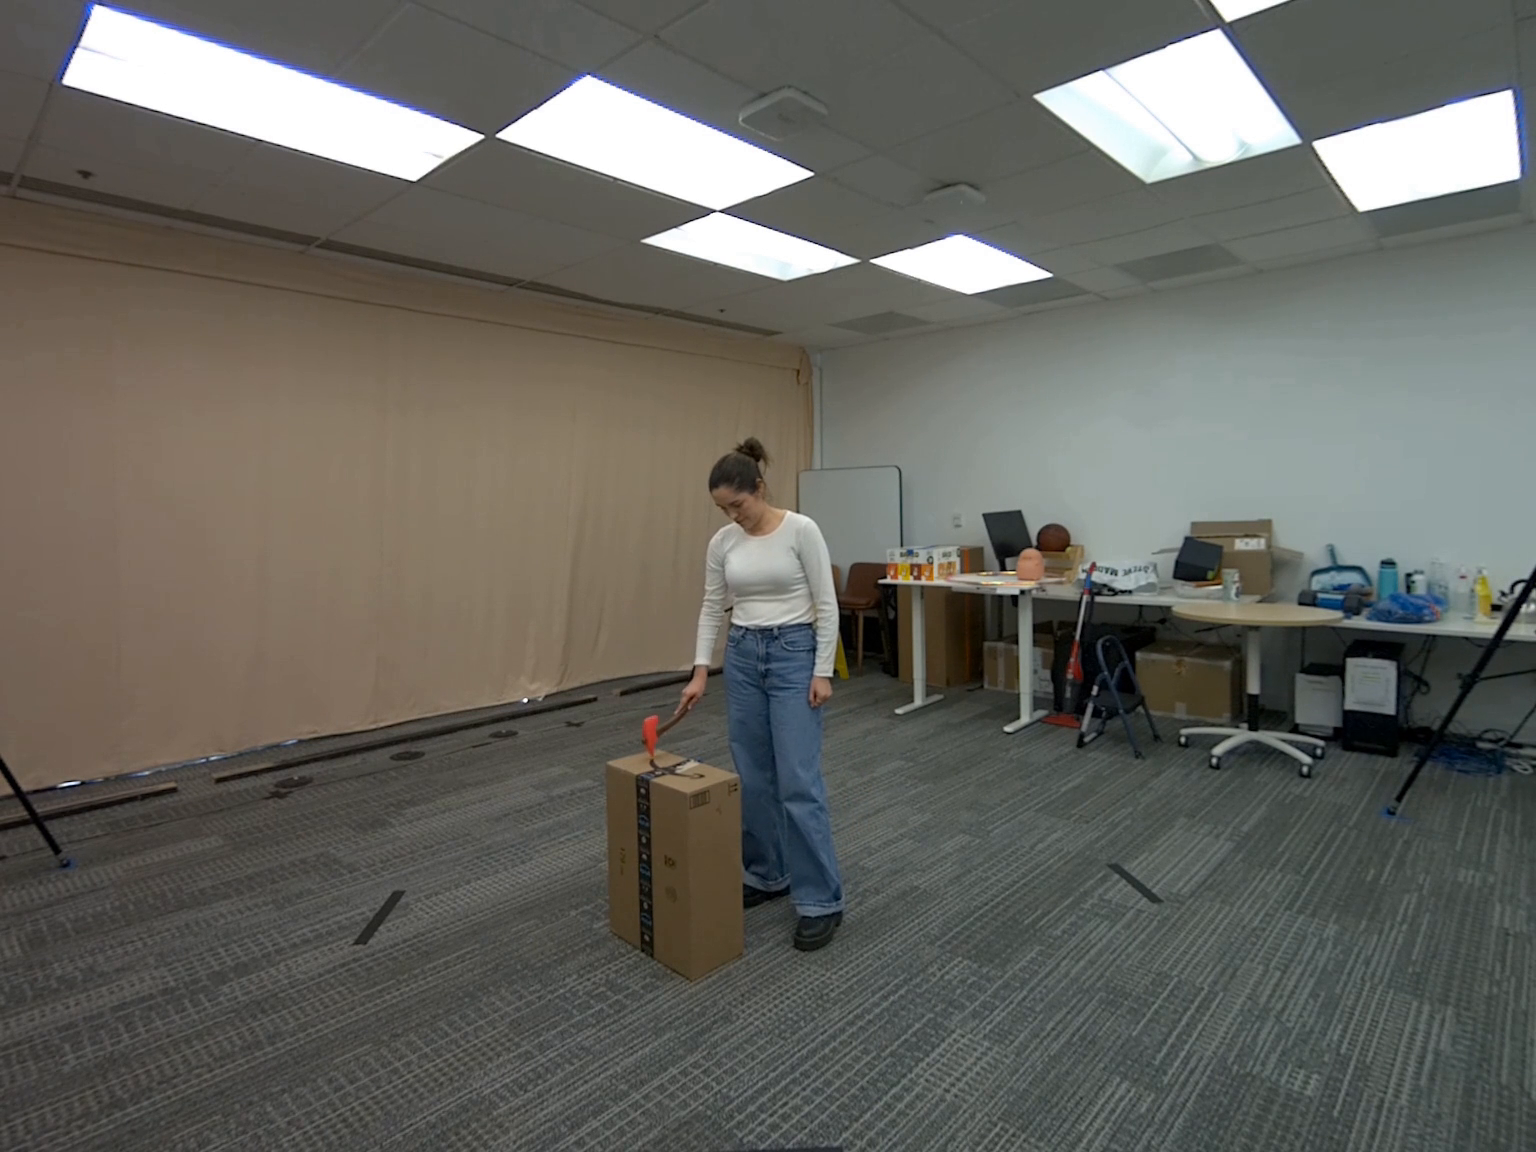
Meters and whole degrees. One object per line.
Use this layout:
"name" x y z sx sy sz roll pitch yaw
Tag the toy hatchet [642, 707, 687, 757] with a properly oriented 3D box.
"toy hatchet" -0.342 0.472 2.832 0.030 0.127 0.268 5 42 40
